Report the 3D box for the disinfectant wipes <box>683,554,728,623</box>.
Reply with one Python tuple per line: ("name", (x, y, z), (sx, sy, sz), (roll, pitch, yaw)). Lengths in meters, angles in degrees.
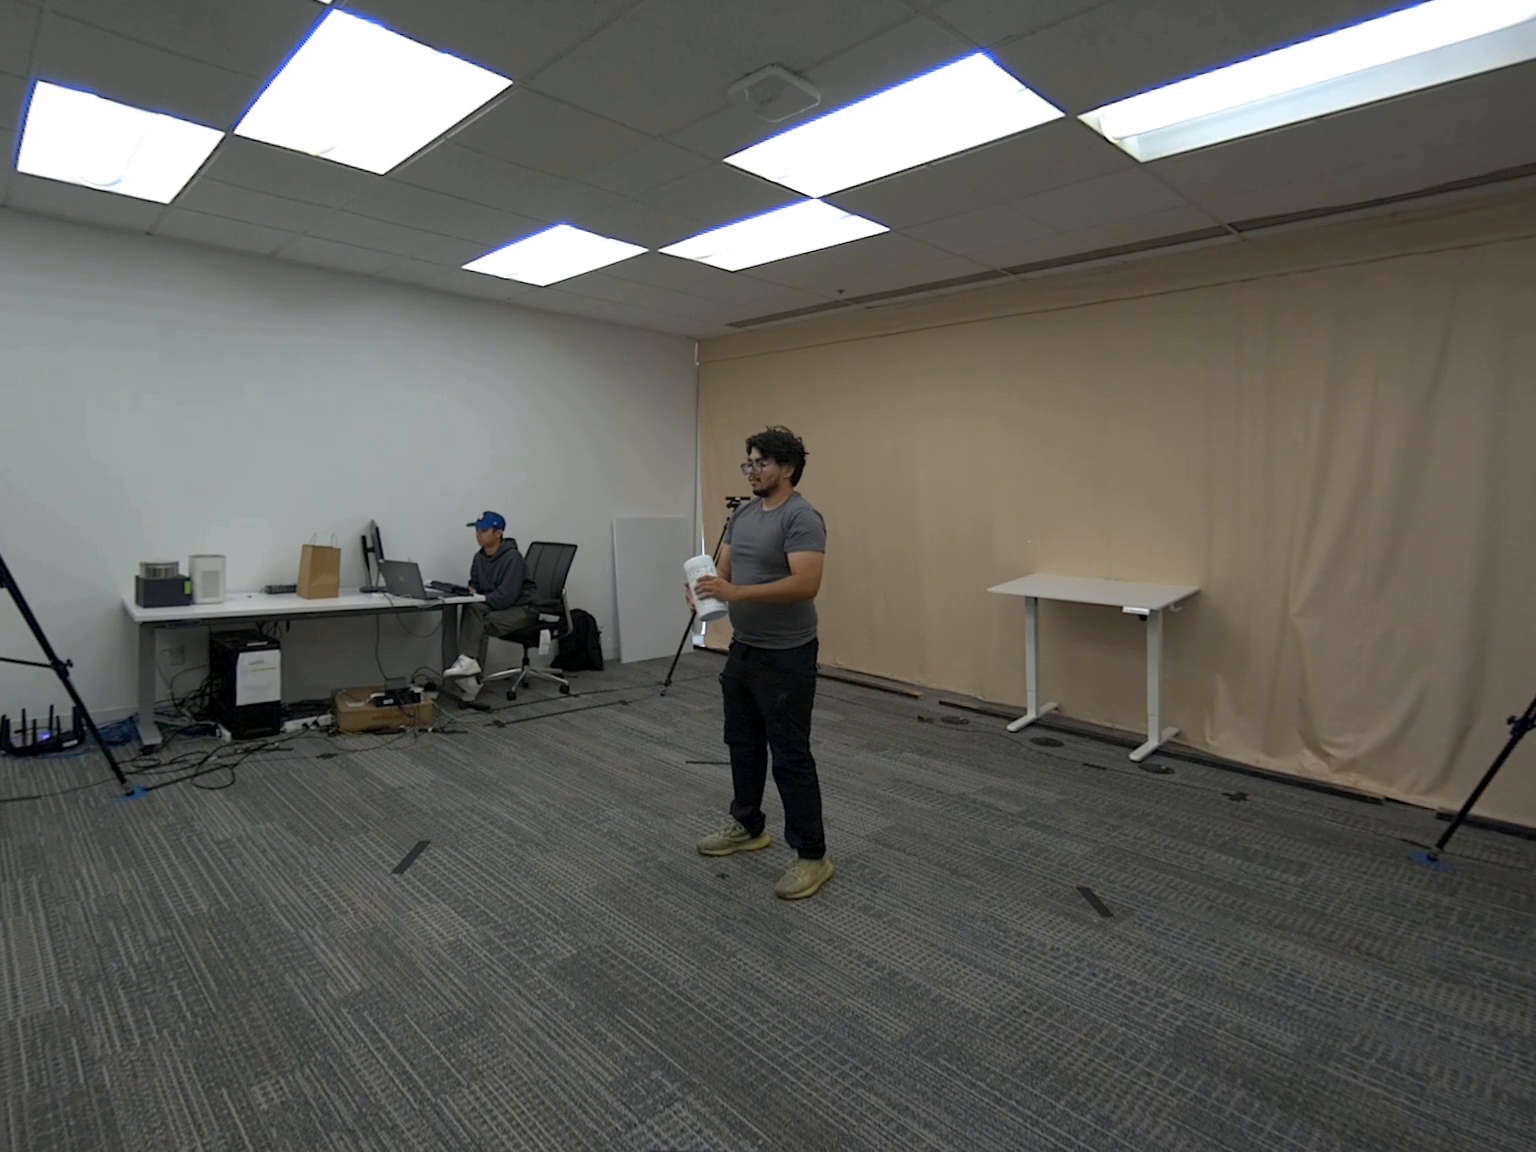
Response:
("disinfectant wipes", (-0.223, 0.044, 2.974), (0.117, 0.221, 0.116), (-14, -18, -6))
